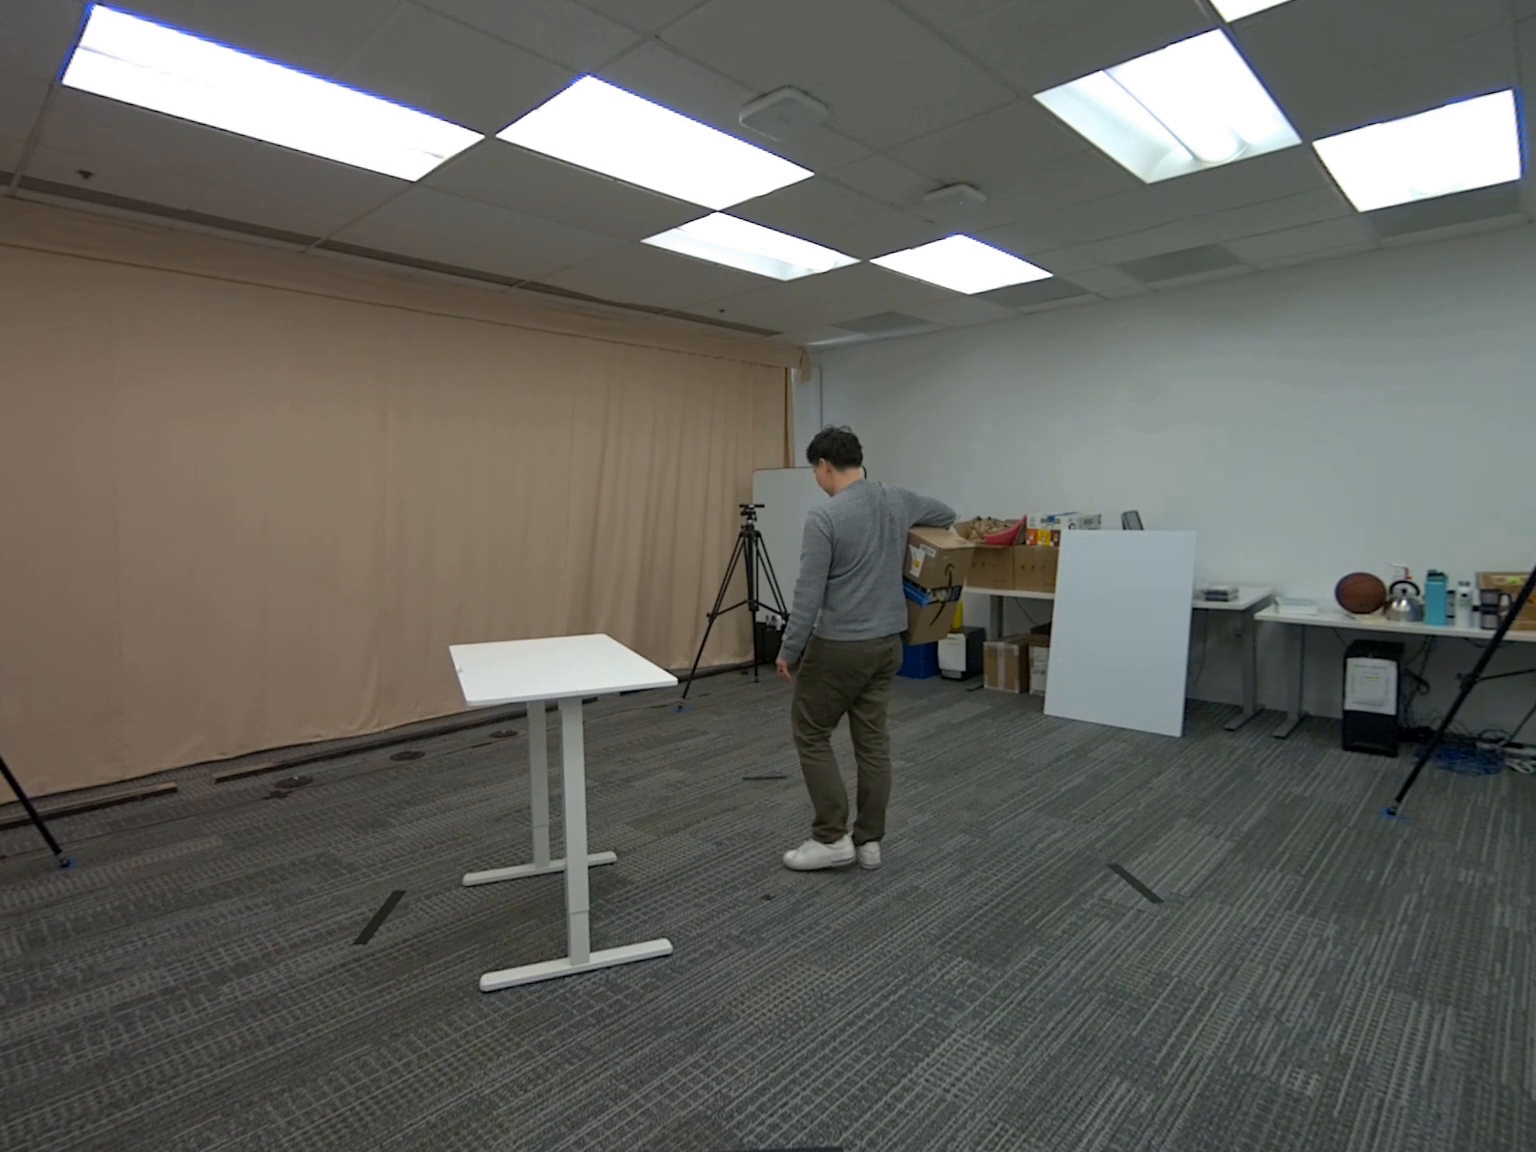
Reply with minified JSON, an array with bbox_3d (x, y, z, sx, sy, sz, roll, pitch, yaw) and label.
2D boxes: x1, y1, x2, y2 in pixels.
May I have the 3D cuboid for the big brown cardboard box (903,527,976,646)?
[{"bbox_3d":[0.517,-0.035,3.454,0.226,0.414,0.611,-4,26,-35],"label":"big brown cardboard box"}]
